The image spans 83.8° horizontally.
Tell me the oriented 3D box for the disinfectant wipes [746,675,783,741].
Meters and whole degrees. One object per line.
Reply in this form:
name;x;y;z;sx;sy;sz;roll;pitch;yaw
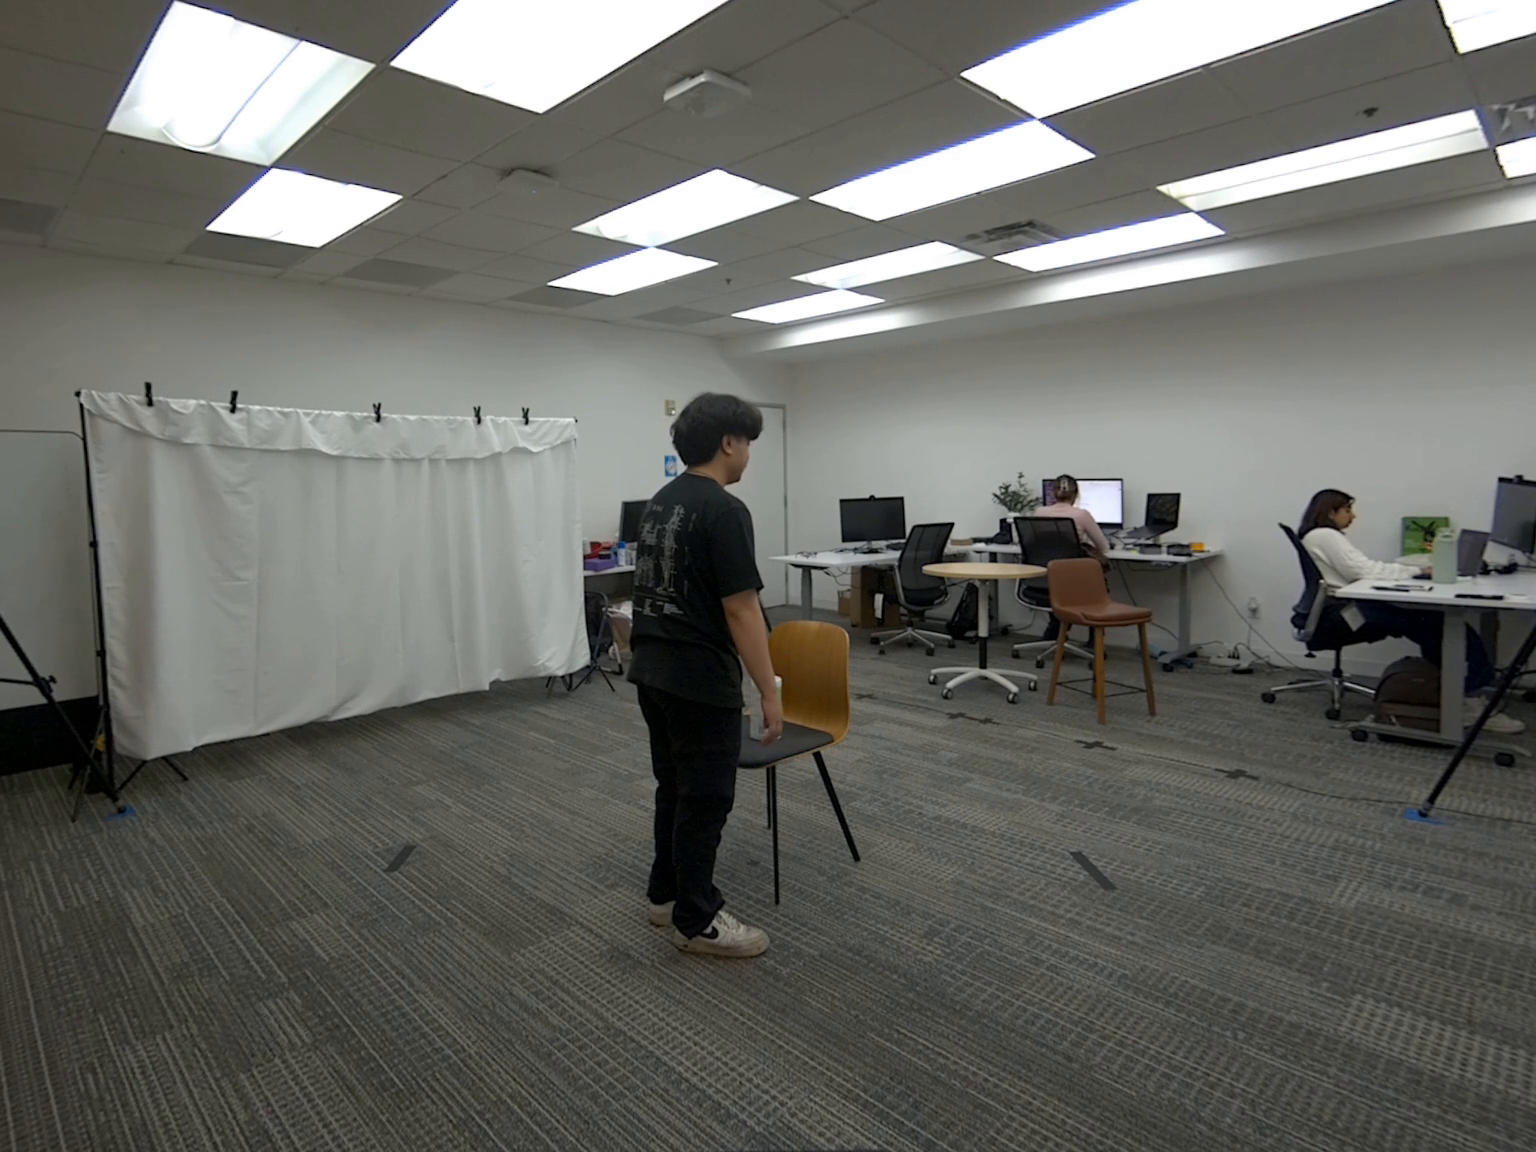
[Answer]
disinfectant wipes;-0.002;0.472;3.038;0.118;0.217;0.118;3;1;-2
